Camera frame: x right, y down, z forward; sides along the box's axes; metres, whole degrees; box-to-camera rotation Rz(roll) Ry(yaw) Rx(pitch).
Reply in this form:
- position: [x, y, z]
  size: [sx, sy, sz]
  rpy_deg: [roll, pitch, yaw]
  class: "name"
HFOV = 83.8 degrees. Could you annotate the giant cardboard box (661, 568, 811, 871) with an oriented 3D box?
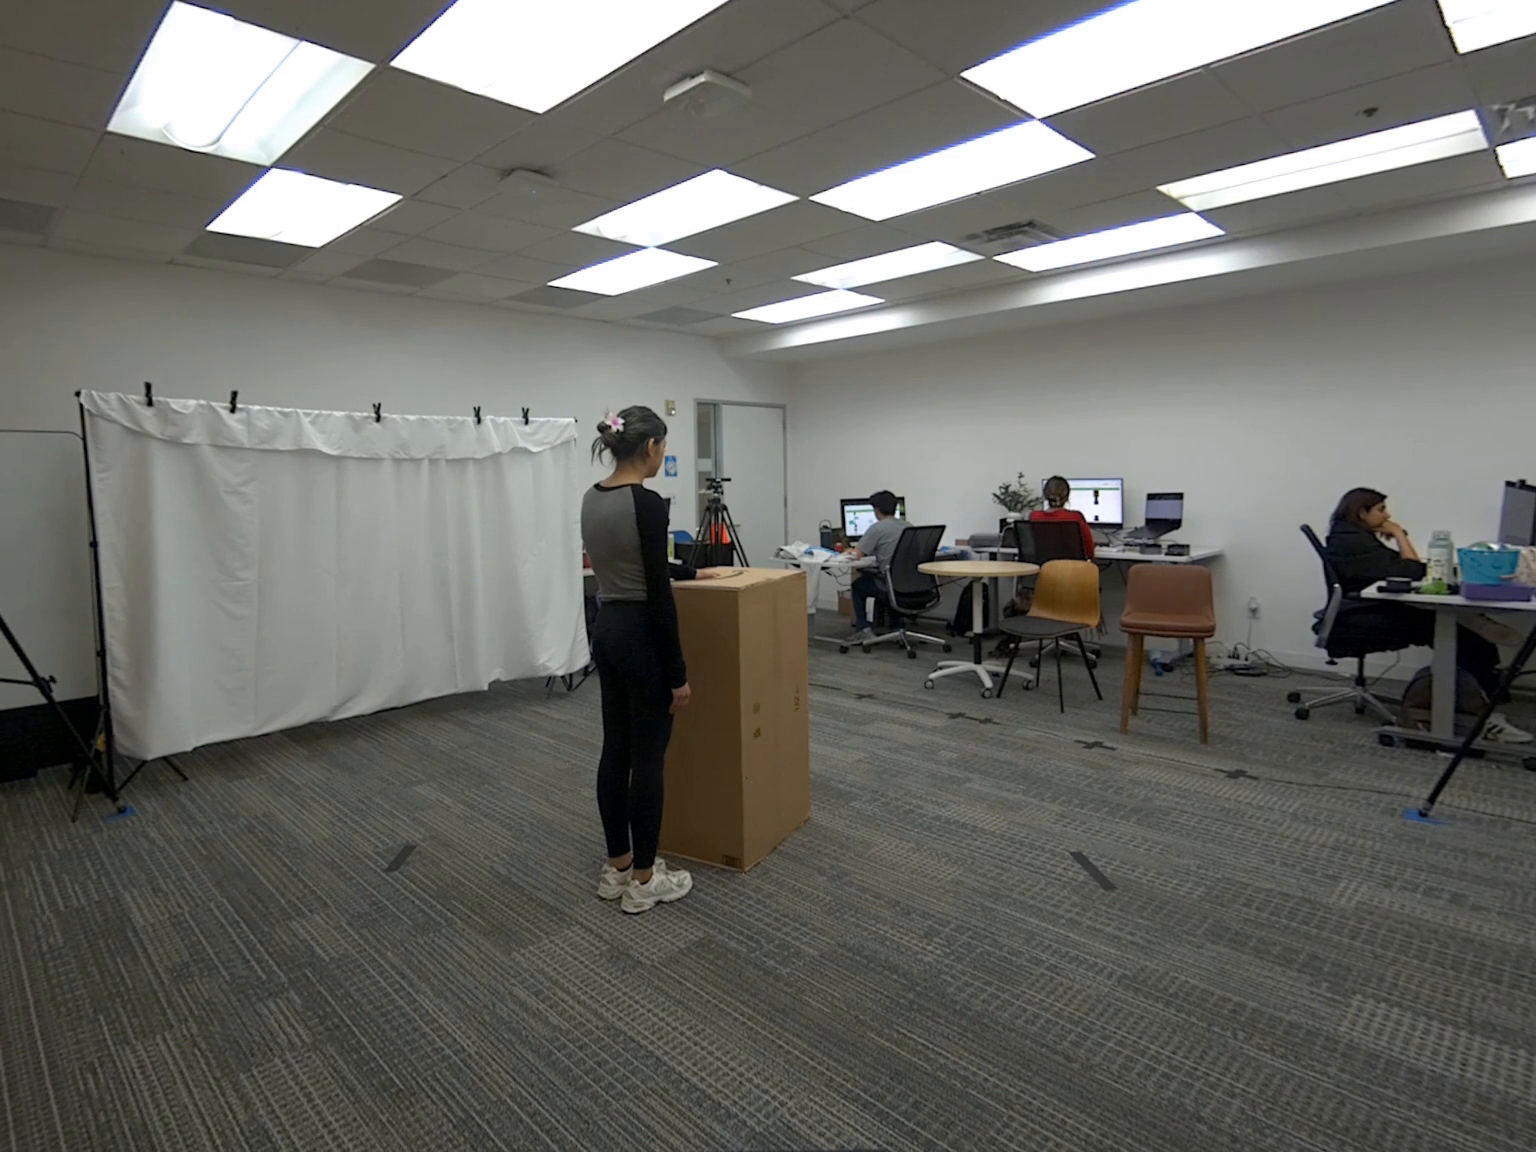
- position: [-0.149, 0.511, 3.342]
  size: [0.458, 1.023, 0.572]
  rpy_deg: [2, 6, 27]
  class: "giant cardboard box"
